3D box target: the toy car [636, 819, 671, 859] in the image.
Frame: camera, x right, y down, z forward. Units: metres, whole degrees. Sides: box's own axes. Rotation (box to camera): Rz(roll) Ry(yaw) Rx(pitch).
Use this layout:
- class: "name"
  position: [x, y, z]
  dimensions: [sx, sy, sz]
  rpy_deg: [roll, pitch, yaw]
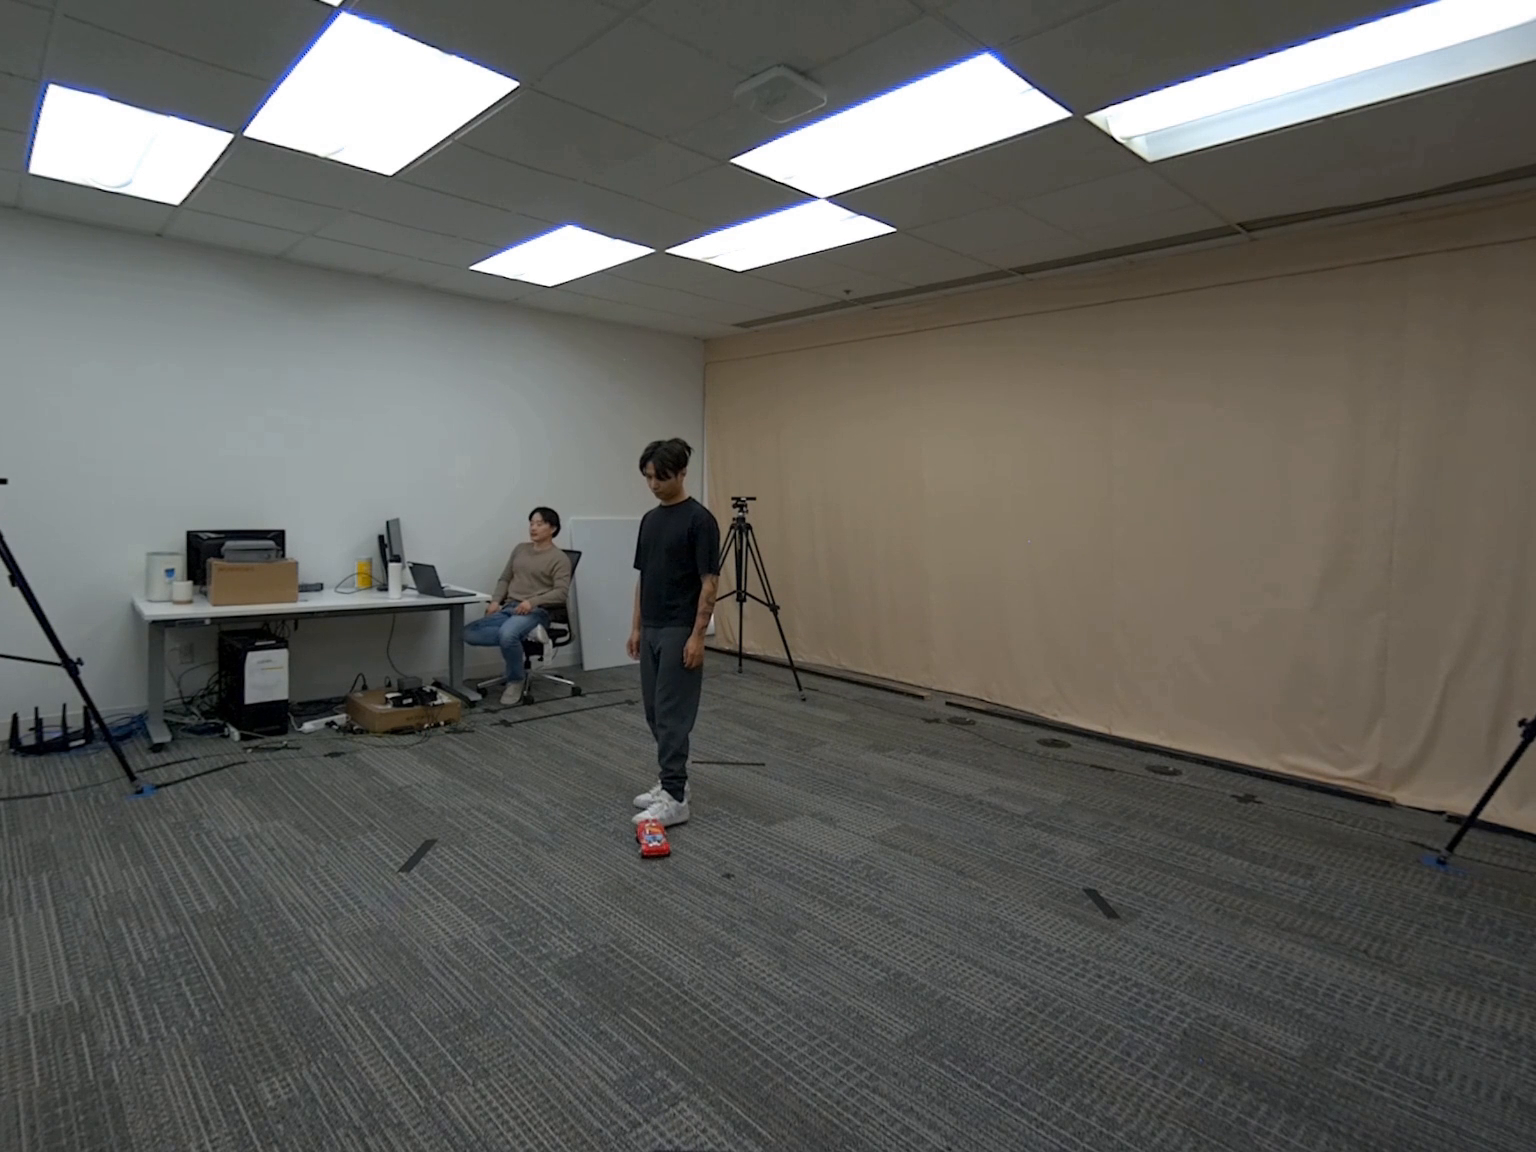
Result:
- class: "toy car"
  position: [-0.474, 1.046, 3.348]
  dimensions: [0.129, 0.082, 0.260]
  rpy_deg: [0, 17, -13]
